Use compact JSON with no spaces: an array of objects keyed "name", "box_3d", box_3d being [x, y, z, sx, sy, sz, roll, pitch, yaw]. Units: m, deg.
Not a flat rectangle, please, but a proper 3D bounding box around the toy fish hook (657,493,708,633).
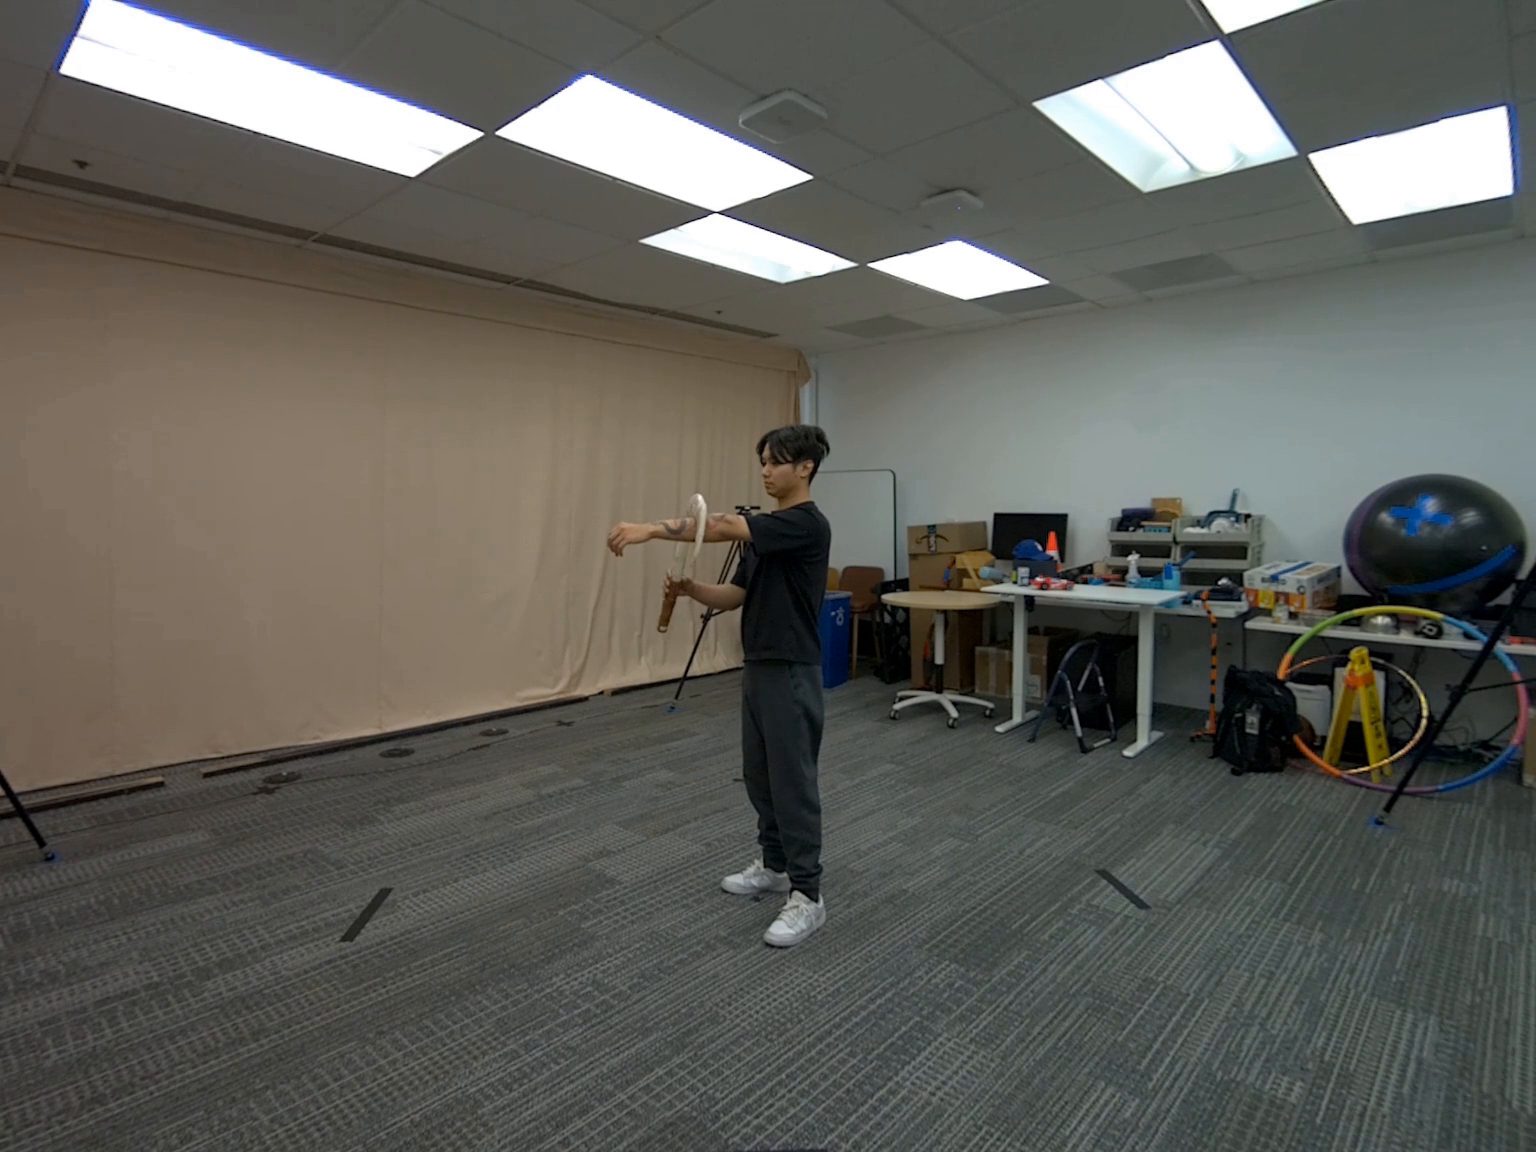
[{"name":"toy fish hook","box_3d":[-0.268,-0.013,2.691,0.047,0.503,0.230,9,22,-15]}]
